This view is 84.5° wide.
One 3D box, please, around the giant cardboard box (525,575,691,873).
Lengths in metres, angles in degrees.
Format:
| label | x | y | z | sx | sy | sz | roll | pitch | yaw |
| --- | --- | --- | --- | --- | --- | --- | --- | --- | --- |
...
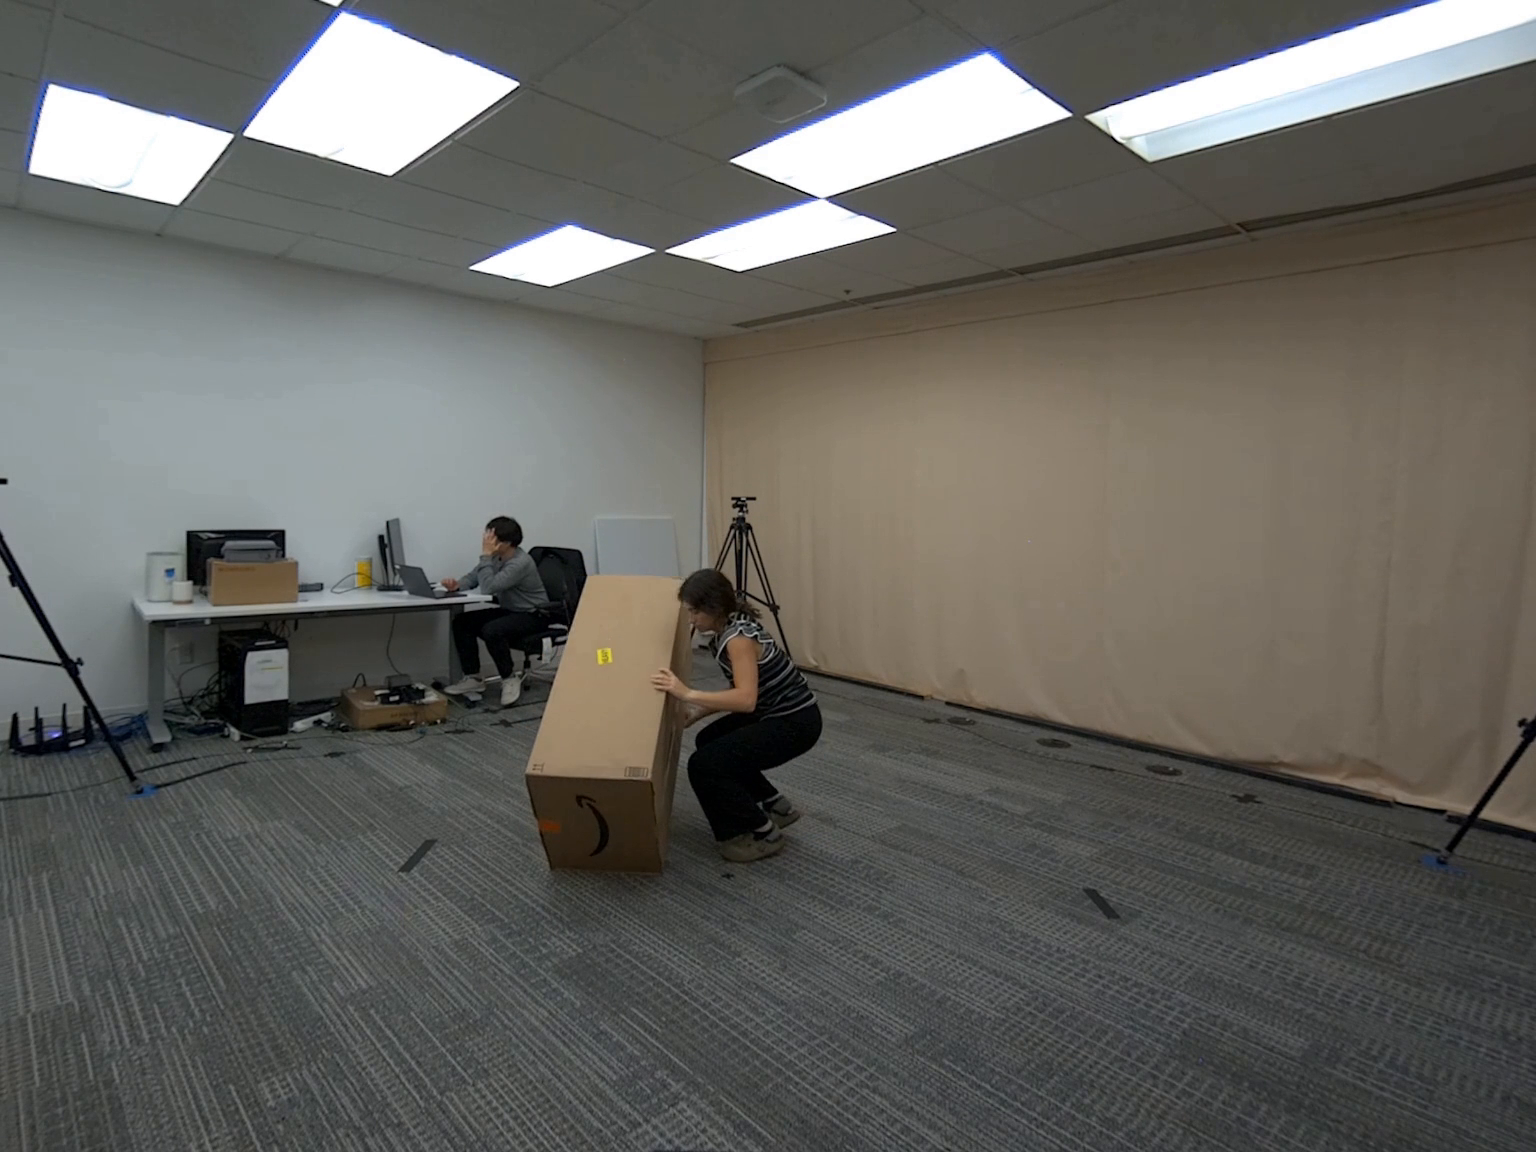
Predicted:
| label | x | y | z | sx | sy | sz | roll | pitch | yaw |
| --- | --- | --- | --- | --- | --- | --- | --- | --- | --- |
| giant cardboard box | -0.590 | 0.554 | 3.332 | 0.427 | 0.565 | 1.046 | 2 | 39 | 1 |
